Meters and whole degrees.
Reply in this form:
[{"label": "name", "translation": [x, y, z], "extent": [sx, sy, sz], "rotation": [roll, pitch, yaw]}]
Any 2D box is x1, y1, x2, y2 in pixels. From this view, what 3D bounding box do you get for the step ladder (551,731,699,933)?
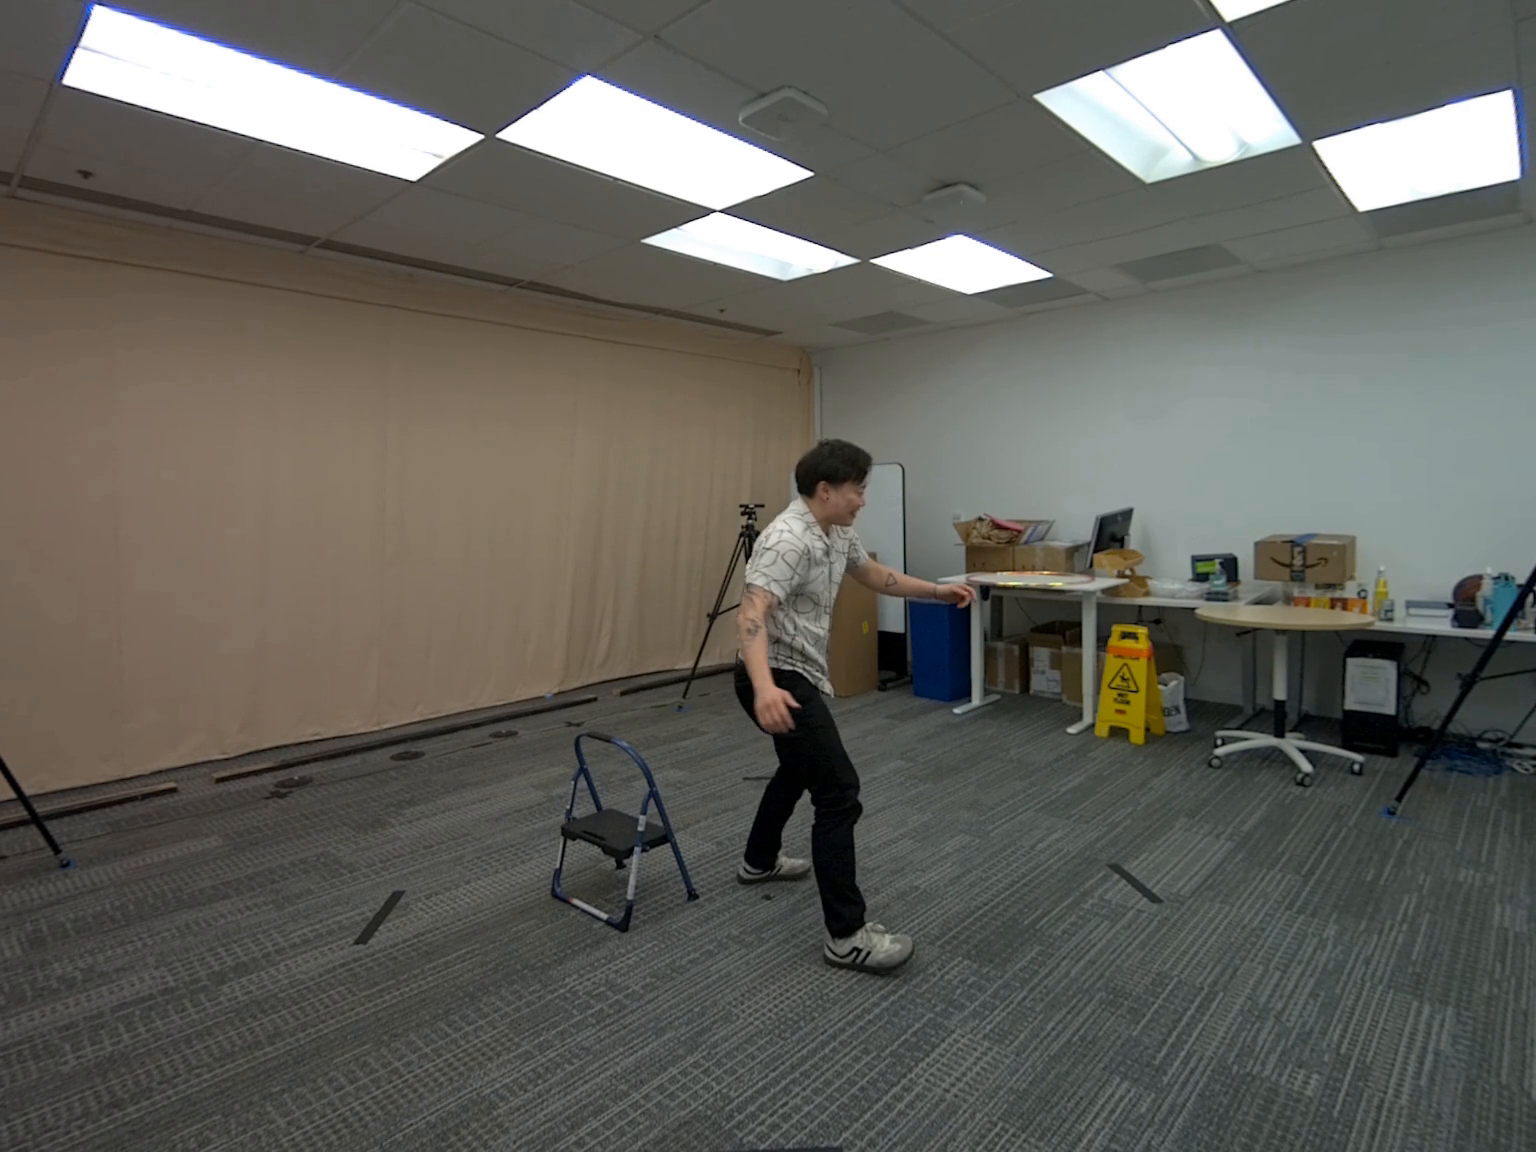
[{"label": "step ladder", "translation": [-0.524, 0.847, 3.001], "extent": [0.445, 0.605, 0.339], "rotation": [2, 4, 41]}]
